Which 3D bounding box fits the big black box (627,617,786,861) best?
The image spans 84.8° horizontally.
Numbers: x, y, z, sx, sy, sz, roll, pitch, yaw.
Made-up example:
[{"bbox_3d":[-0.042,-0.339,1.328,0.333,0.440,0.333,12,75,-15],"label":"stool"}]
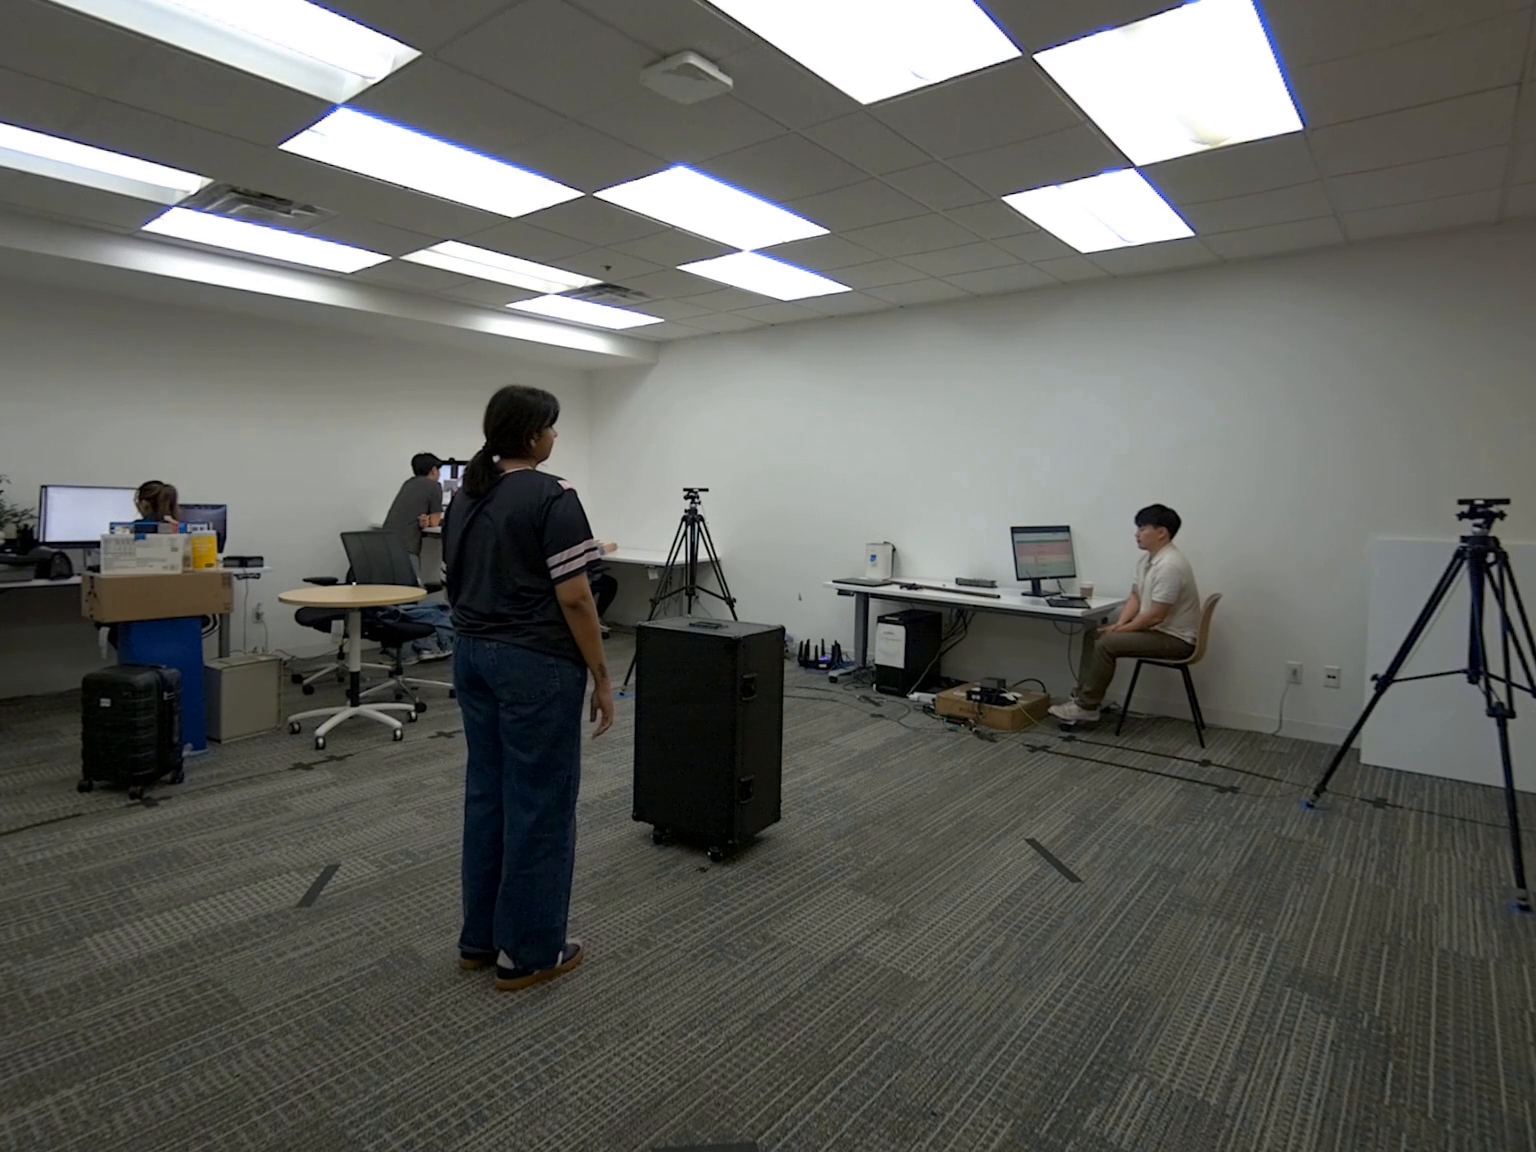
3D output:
[{"bbox_3d":[-0.251,0.619,3.389,0.539,0.867,0.374,3,3,32],"label":"big black box"}]
